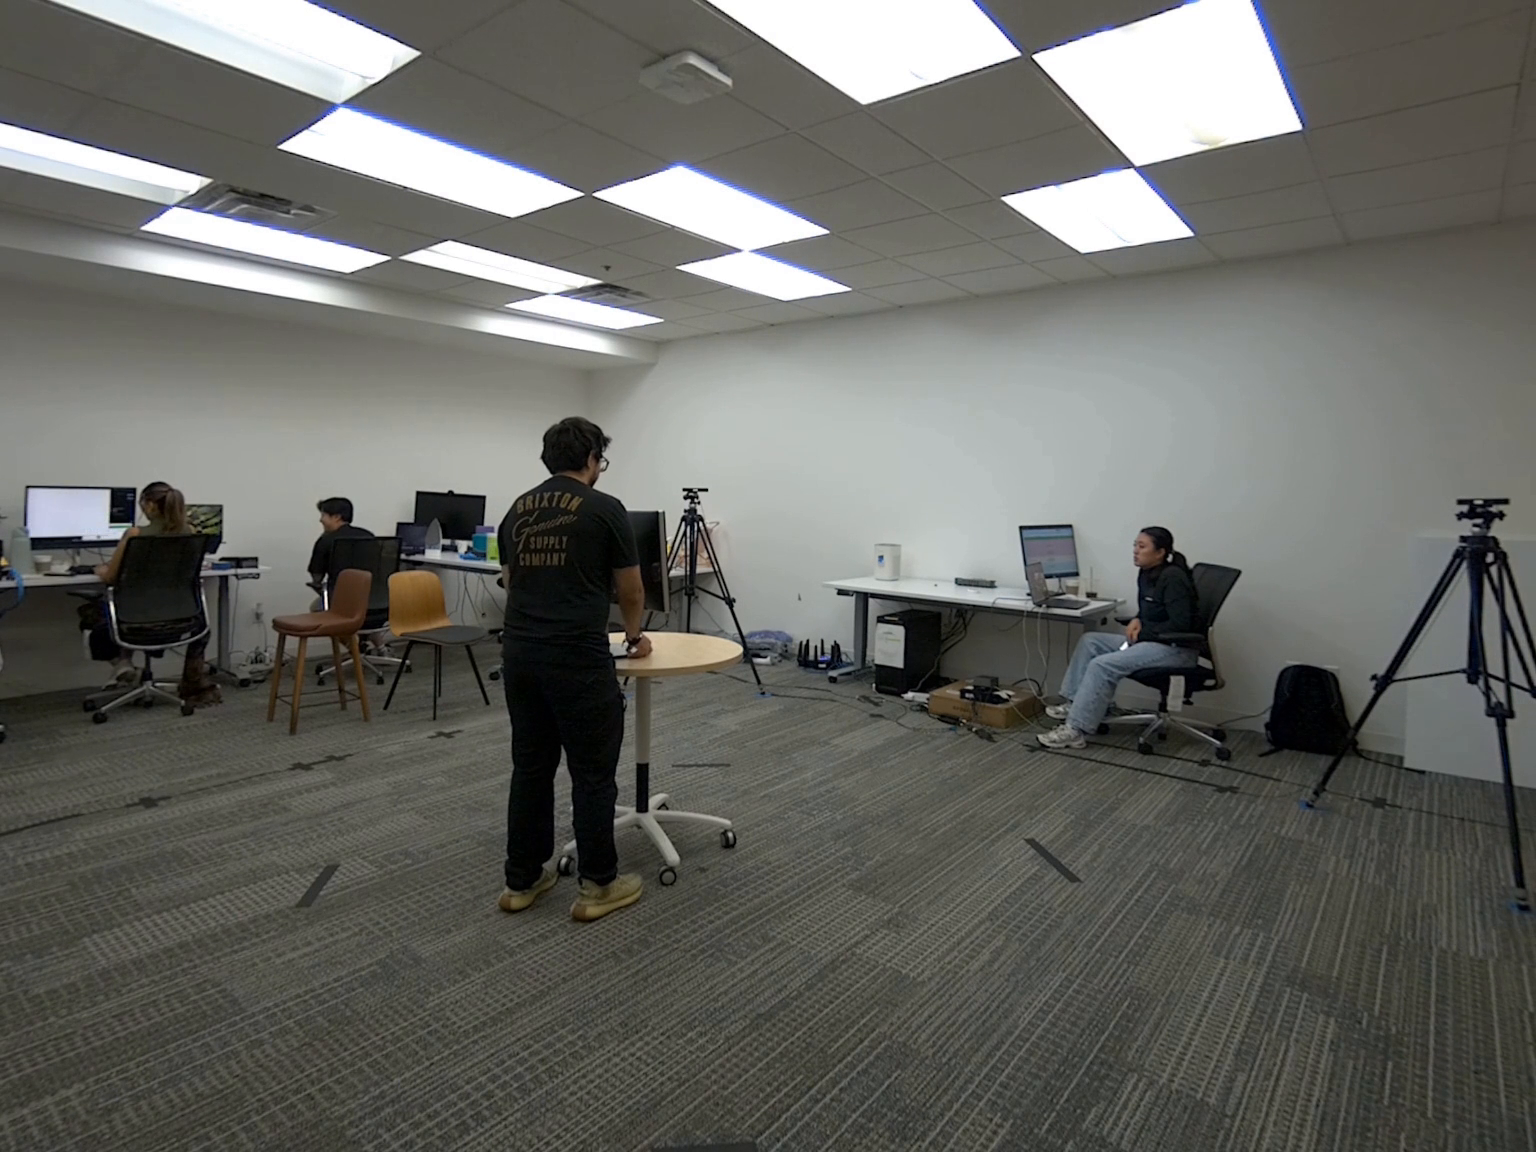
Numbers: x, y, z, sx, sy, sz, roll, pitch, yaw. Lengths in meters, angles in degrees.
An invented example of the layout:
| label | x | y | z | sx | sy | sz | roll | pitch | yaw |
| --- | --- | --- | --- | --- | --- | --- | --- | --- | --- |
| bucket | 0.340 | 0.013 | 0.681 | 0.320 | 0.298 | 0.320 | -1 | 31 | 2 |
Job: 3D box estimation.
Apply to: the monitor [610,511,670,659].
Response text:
| label | x | y | z | sx | sy | sz | roll | pitch | yaw |
| --- | --- | --- | --- | --- | --- | --- | --- | --- | --- |
| monitor | -0.609 | 0.021 | 3.154 | 0.204 | 0.552 | 0.584 | -3 | 5 | -41 |
